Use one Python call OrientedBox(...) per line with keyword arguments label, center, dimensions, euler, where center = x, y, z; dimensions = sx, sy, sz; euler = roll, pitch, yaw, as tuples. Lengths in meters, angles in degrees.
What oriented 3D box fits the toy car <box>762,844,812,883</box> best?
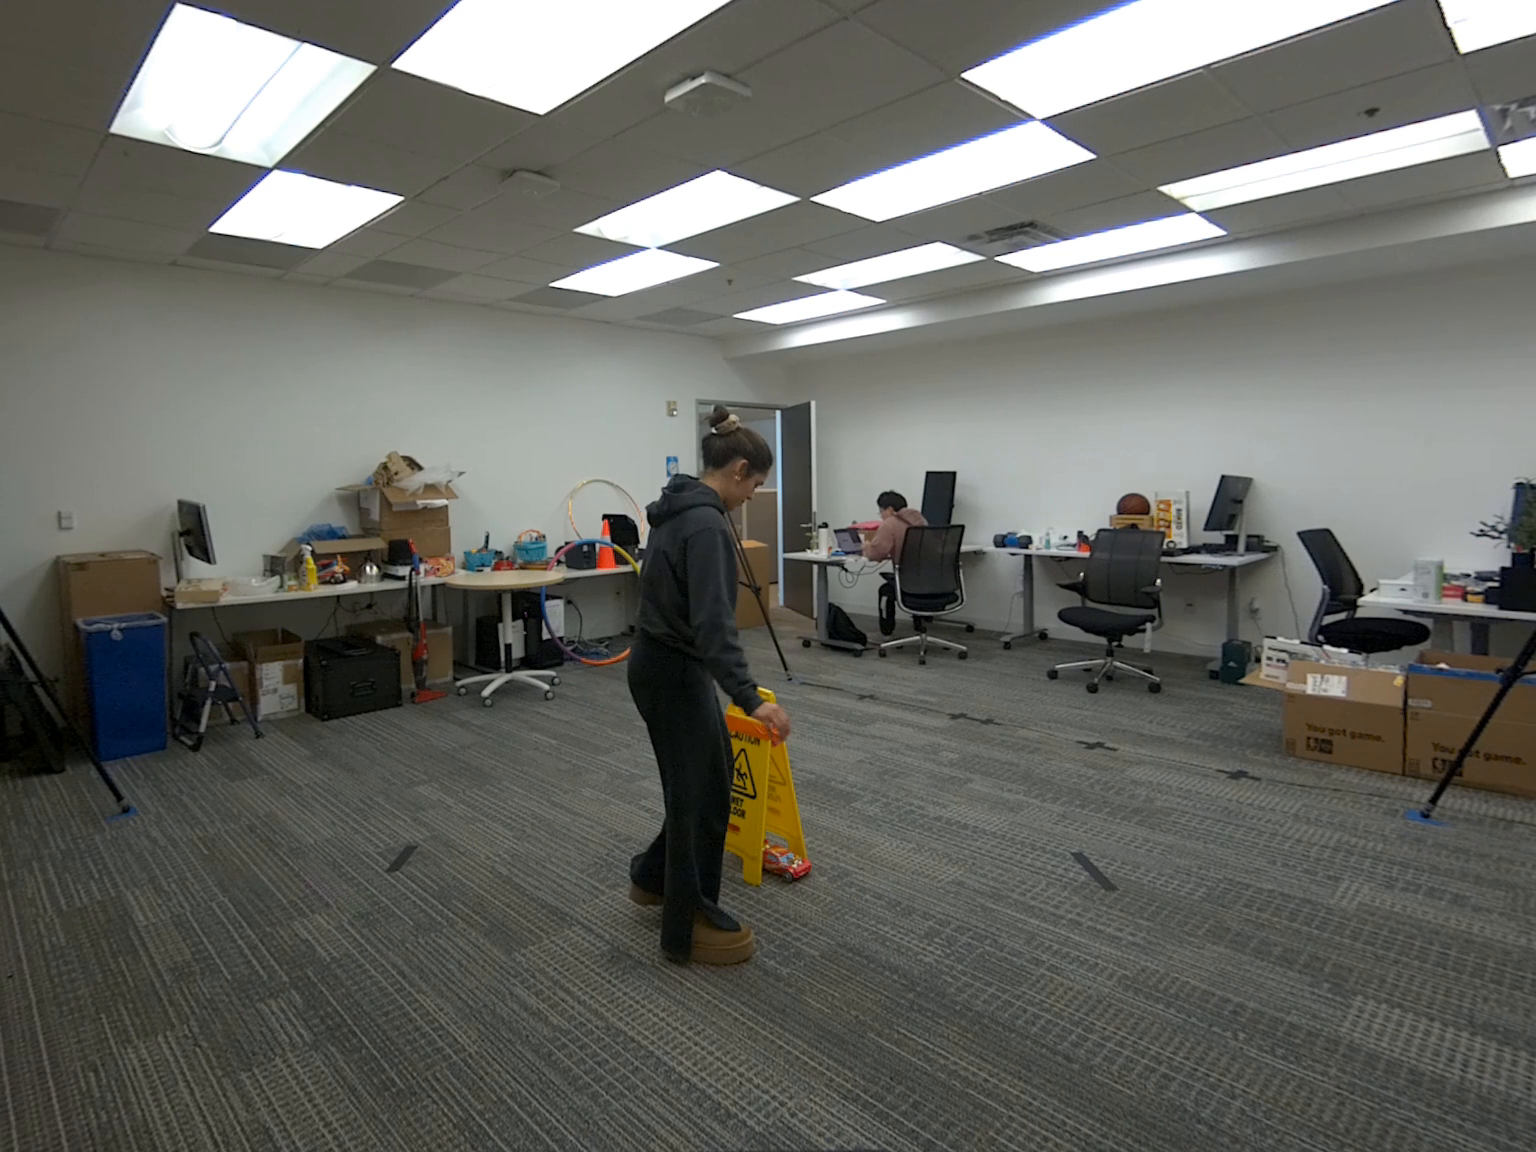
OrientedBox(label="toy car", center=(0.021, 1.022, 3.031), dimensions=(0.264, 0.082, 0.127), euler=(17, 17, 41))
